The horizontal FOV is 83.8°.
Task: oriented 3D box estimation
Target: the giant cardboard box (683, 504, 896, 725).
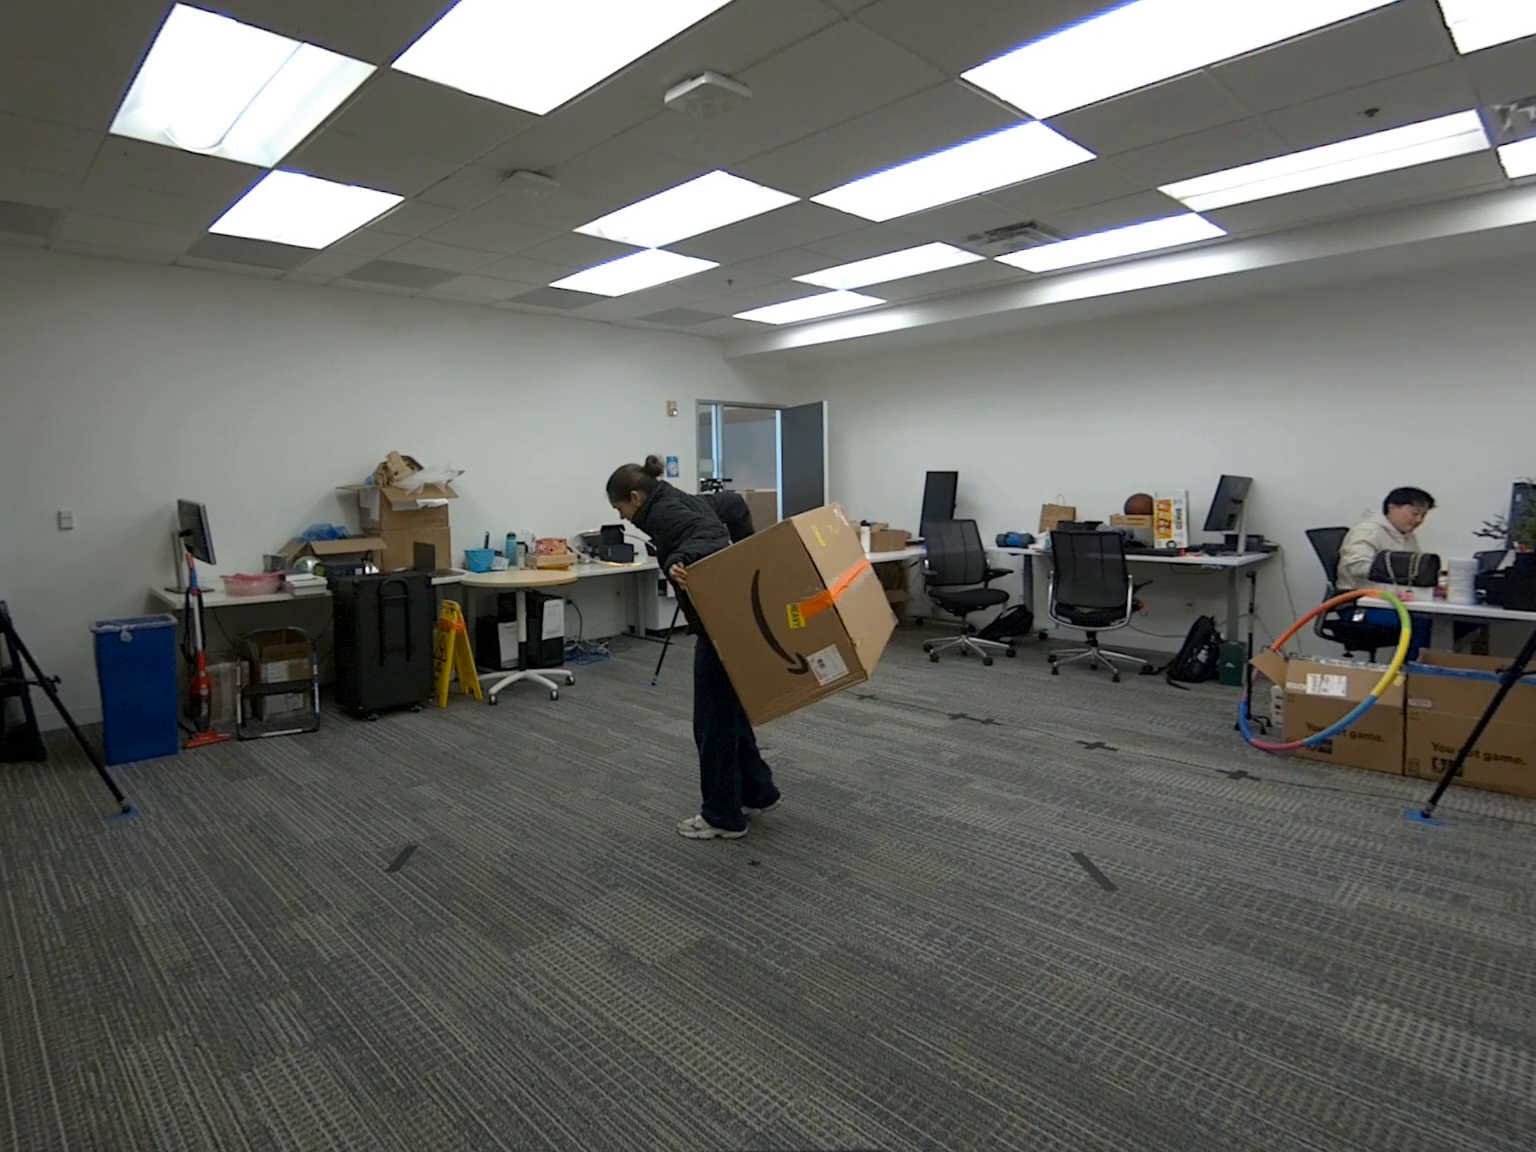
[{"bbox_3d":[0.128,0.092,3.261,0.429,0.579,1.016,-26,0,16],"label":"giant cardboard box"}]
